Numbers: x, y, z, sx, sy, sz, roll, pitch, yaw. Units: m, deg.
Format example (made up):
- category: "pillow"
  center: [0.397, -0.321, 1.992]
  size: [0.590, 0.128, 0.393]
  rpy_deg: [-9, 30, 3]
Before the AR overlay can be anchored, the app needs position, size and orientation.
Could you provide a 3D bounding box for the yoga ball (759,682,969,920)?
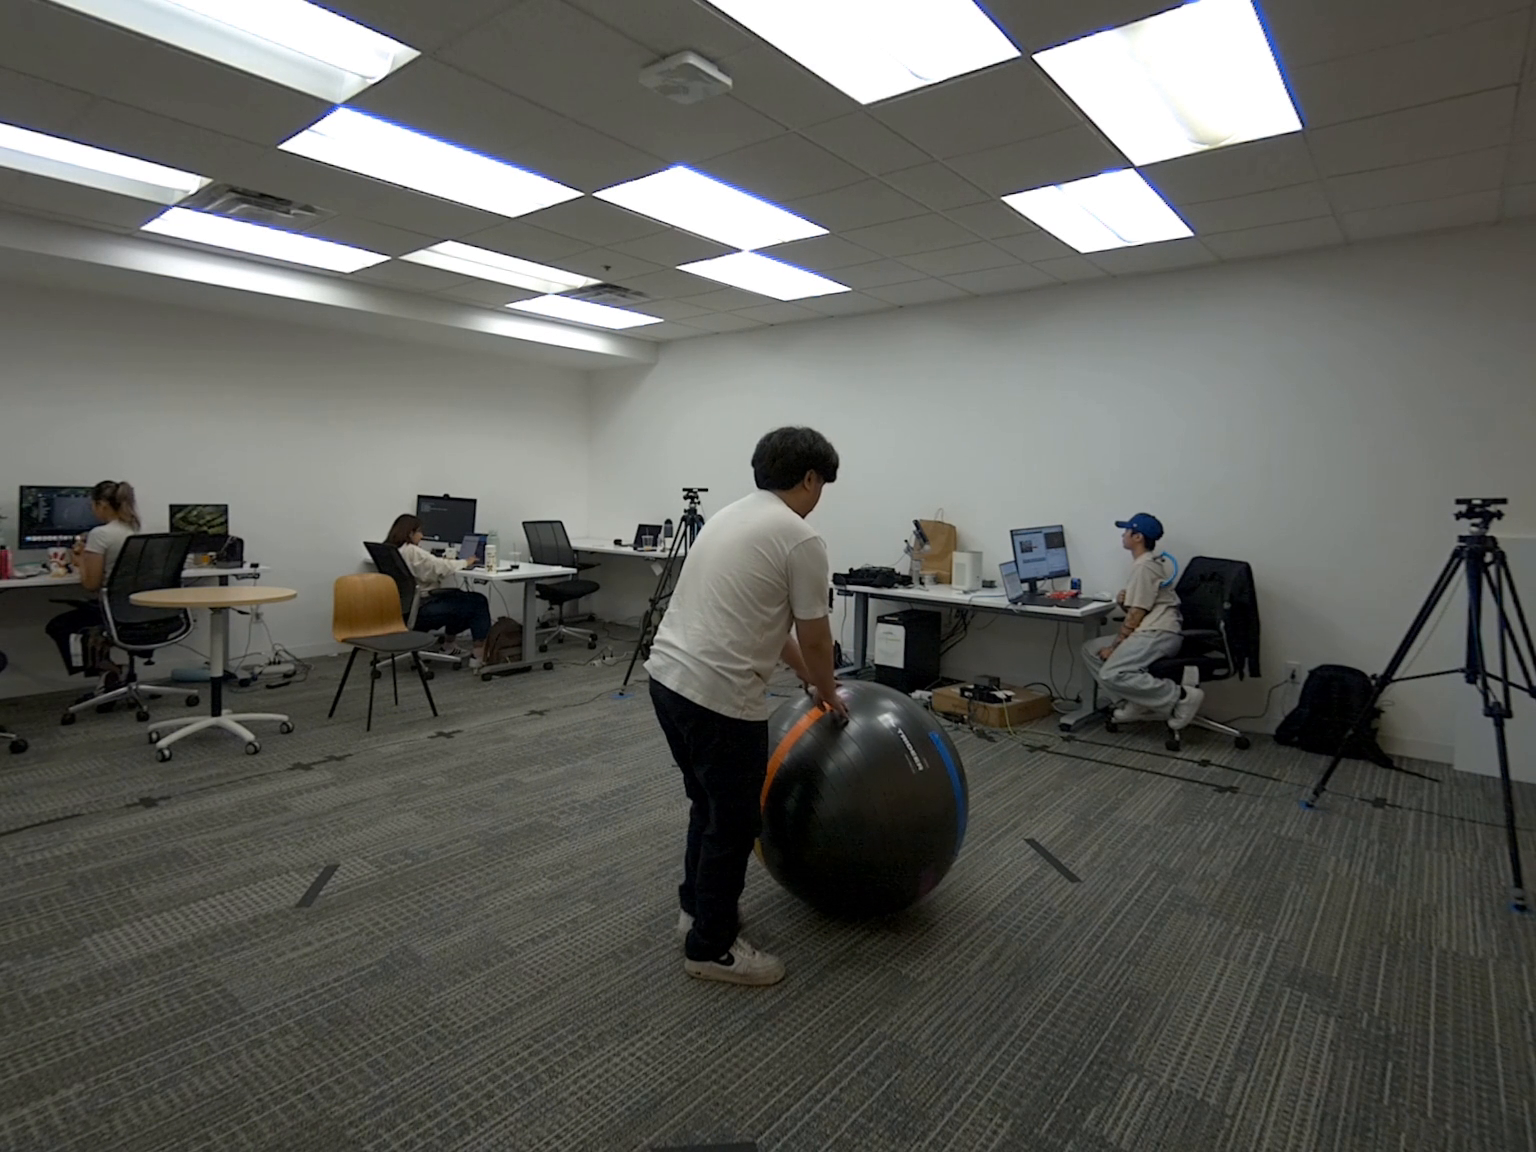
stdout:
- category: "yoga ball"
  center: [0.288, 0.738, 2.878]
  size: [0.757, 0.755, 0.762]
  rpy_deg: [1, 4, -2]
